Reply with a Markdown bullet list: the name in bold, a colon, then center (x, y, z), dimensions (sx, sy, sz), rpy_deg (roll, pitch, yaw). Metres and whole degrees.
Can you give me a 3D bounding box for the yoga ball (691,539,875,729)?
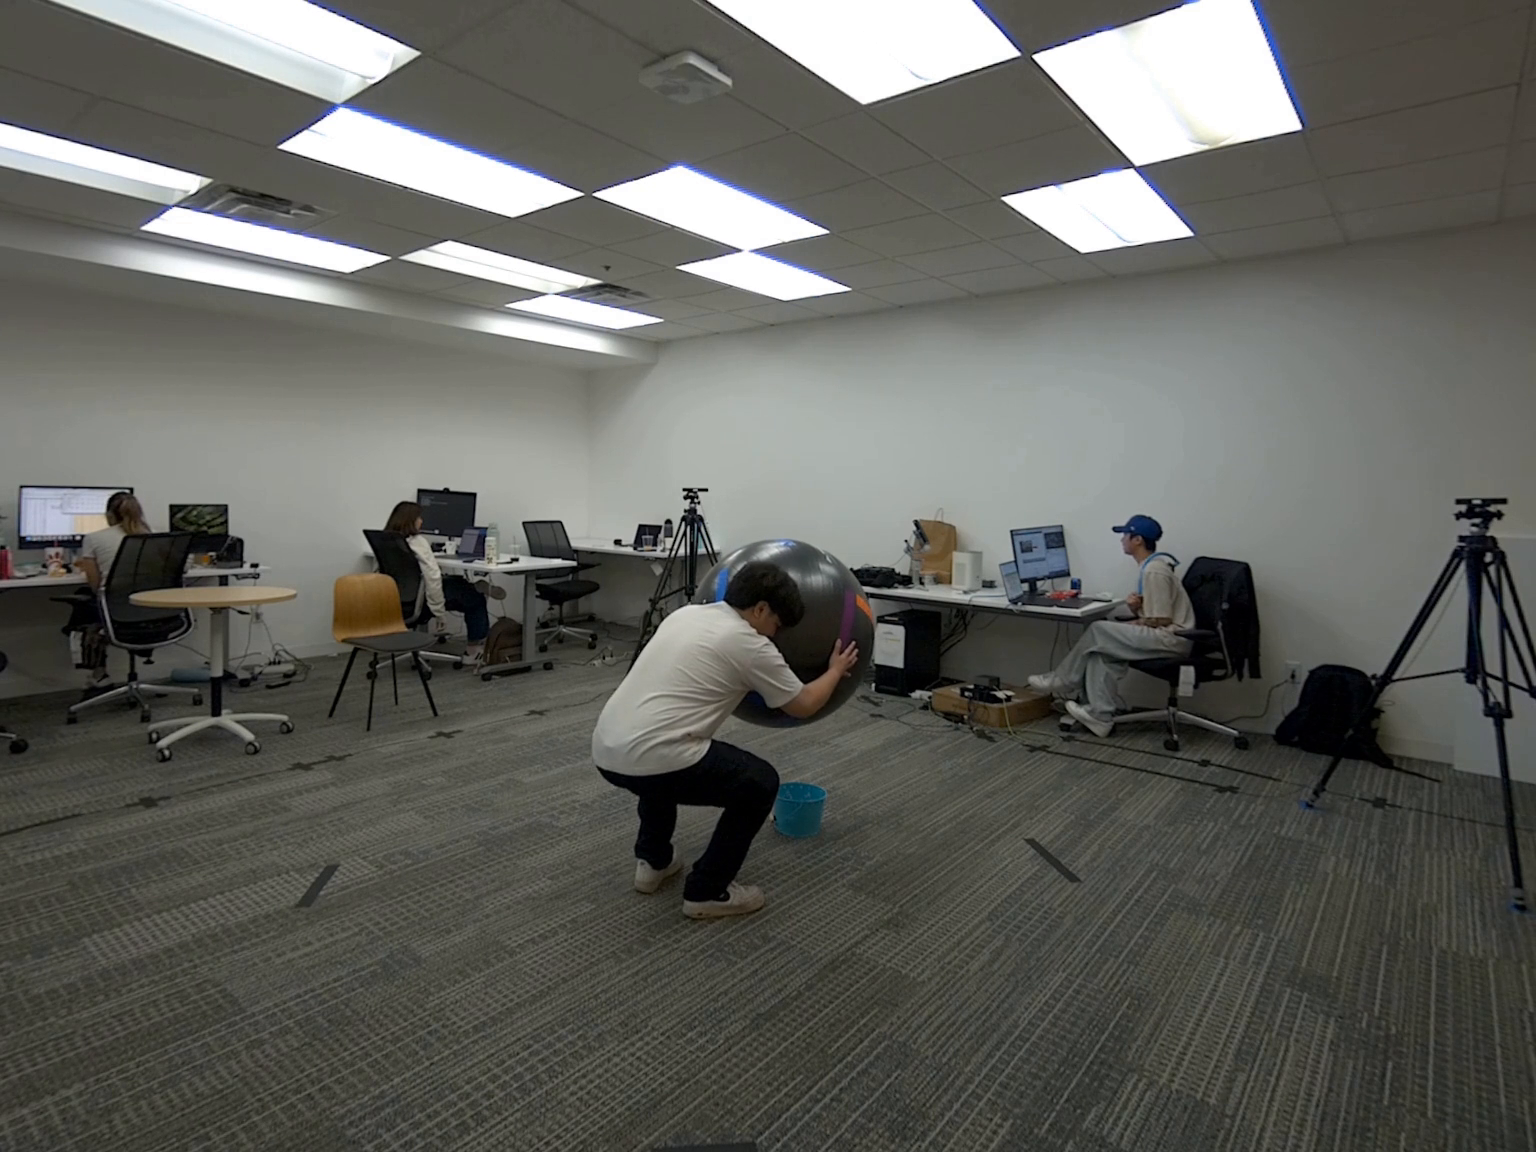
- **yoga ball**: center (0.039, 0.226, 3.447), dimensions (0.757, 0.755, 0.762), rpy_deg (1, 4, -2)
